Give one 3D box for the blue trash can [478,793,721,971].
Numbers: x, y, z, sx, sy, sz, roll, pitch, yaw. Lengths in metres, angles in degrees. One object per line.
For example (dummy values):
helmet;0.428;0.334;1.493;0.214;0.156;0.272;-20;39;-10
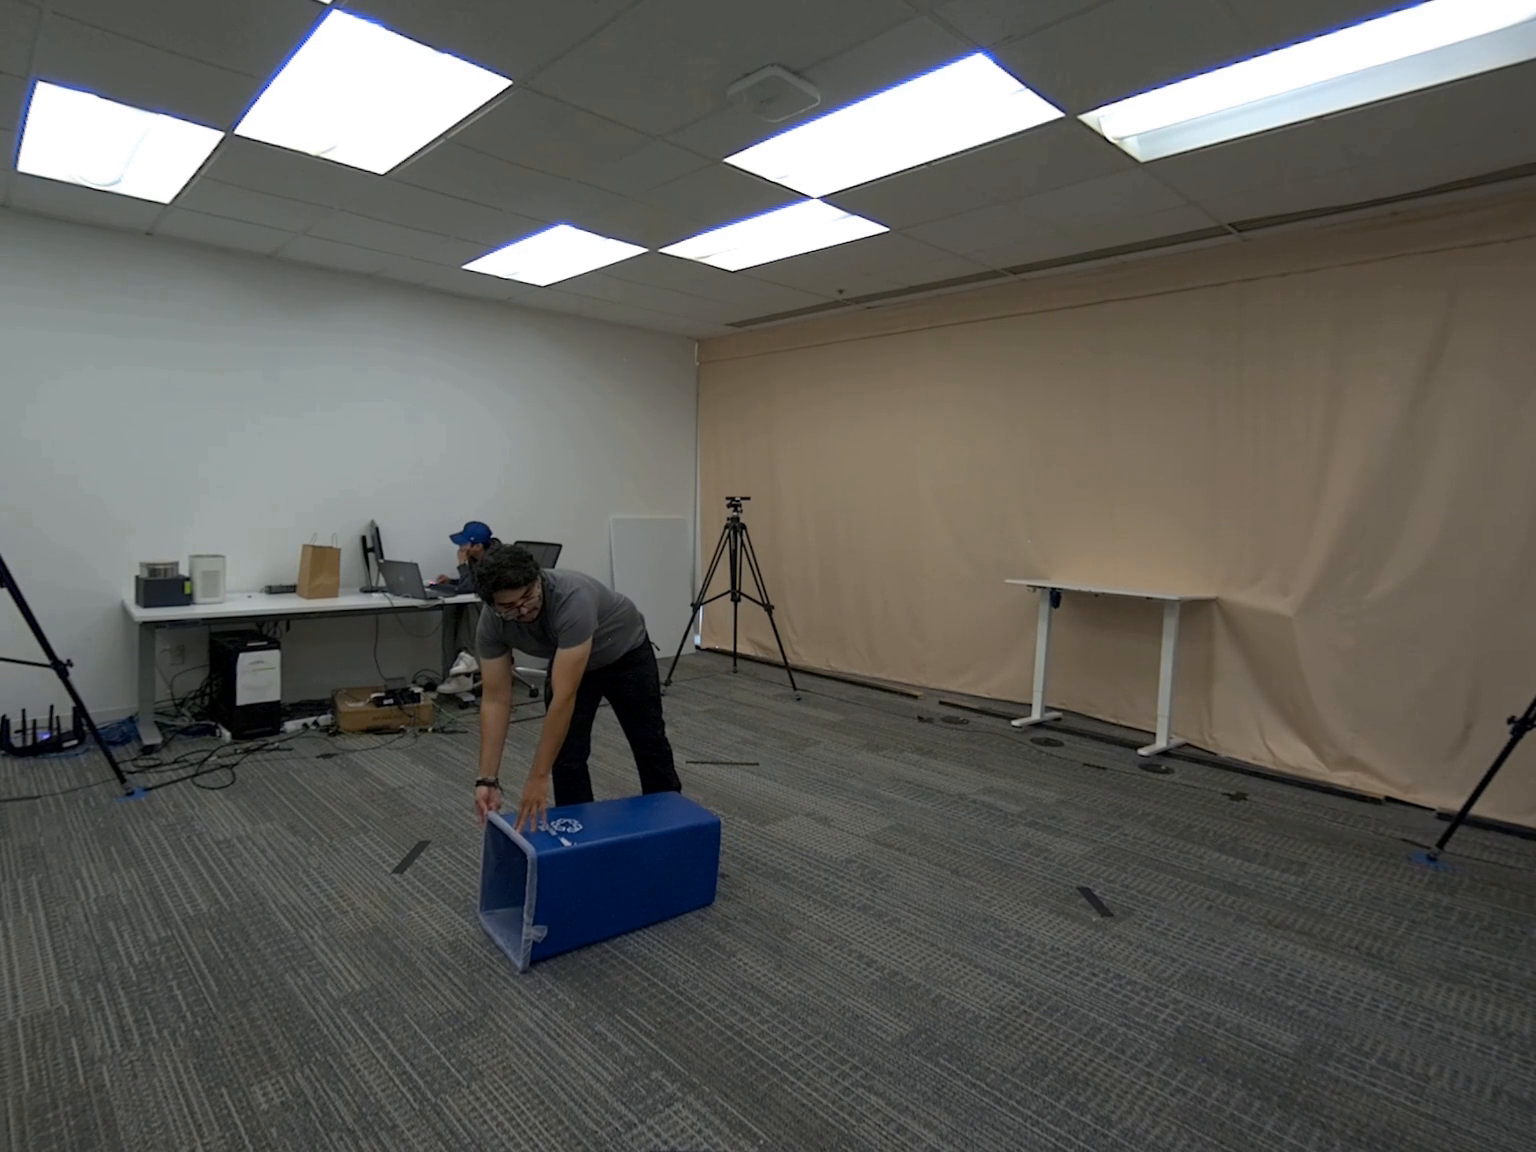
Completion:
blue trash can;-0.543;0.951;2.773;0.697;0.373;0.388;0;5;-38
